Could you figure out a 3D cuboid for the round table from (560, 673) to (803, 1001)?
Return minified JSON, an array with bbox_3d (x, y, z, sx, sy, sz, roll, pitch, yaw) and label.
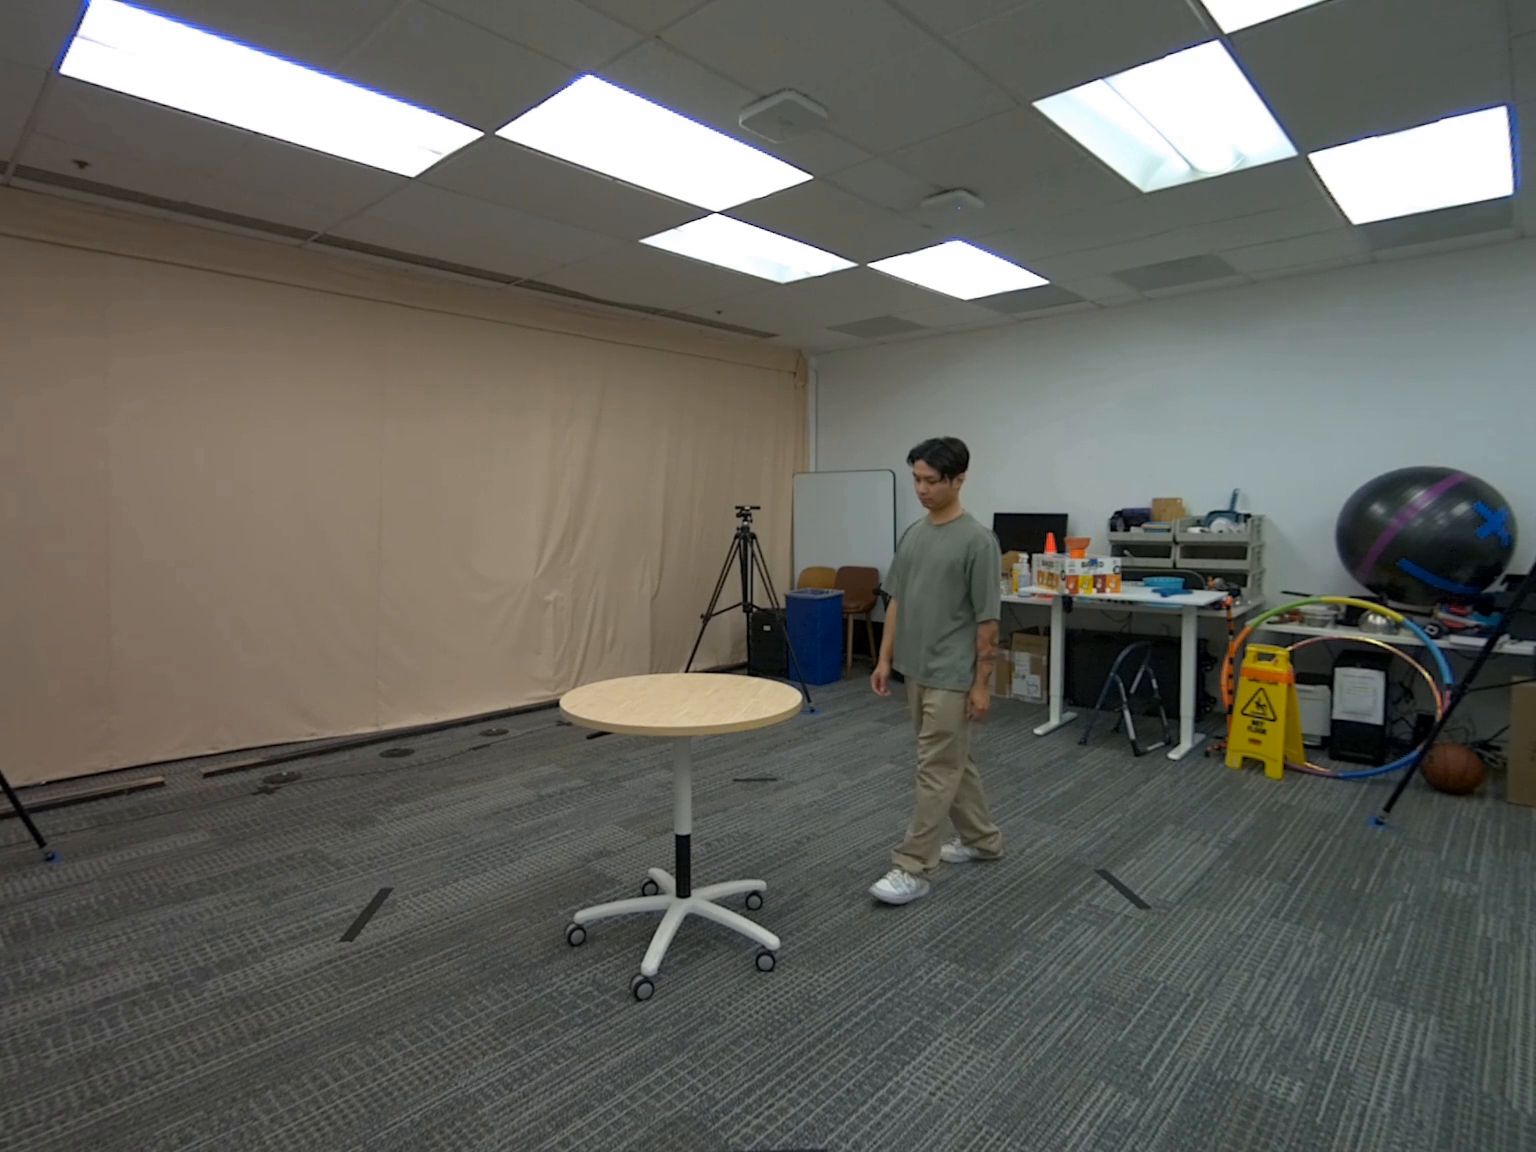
[{"bbox_3d":[-0.262,0.776,2.682,0.784,0.785,0.788,-1,4,-2],"label":"round table"}]
